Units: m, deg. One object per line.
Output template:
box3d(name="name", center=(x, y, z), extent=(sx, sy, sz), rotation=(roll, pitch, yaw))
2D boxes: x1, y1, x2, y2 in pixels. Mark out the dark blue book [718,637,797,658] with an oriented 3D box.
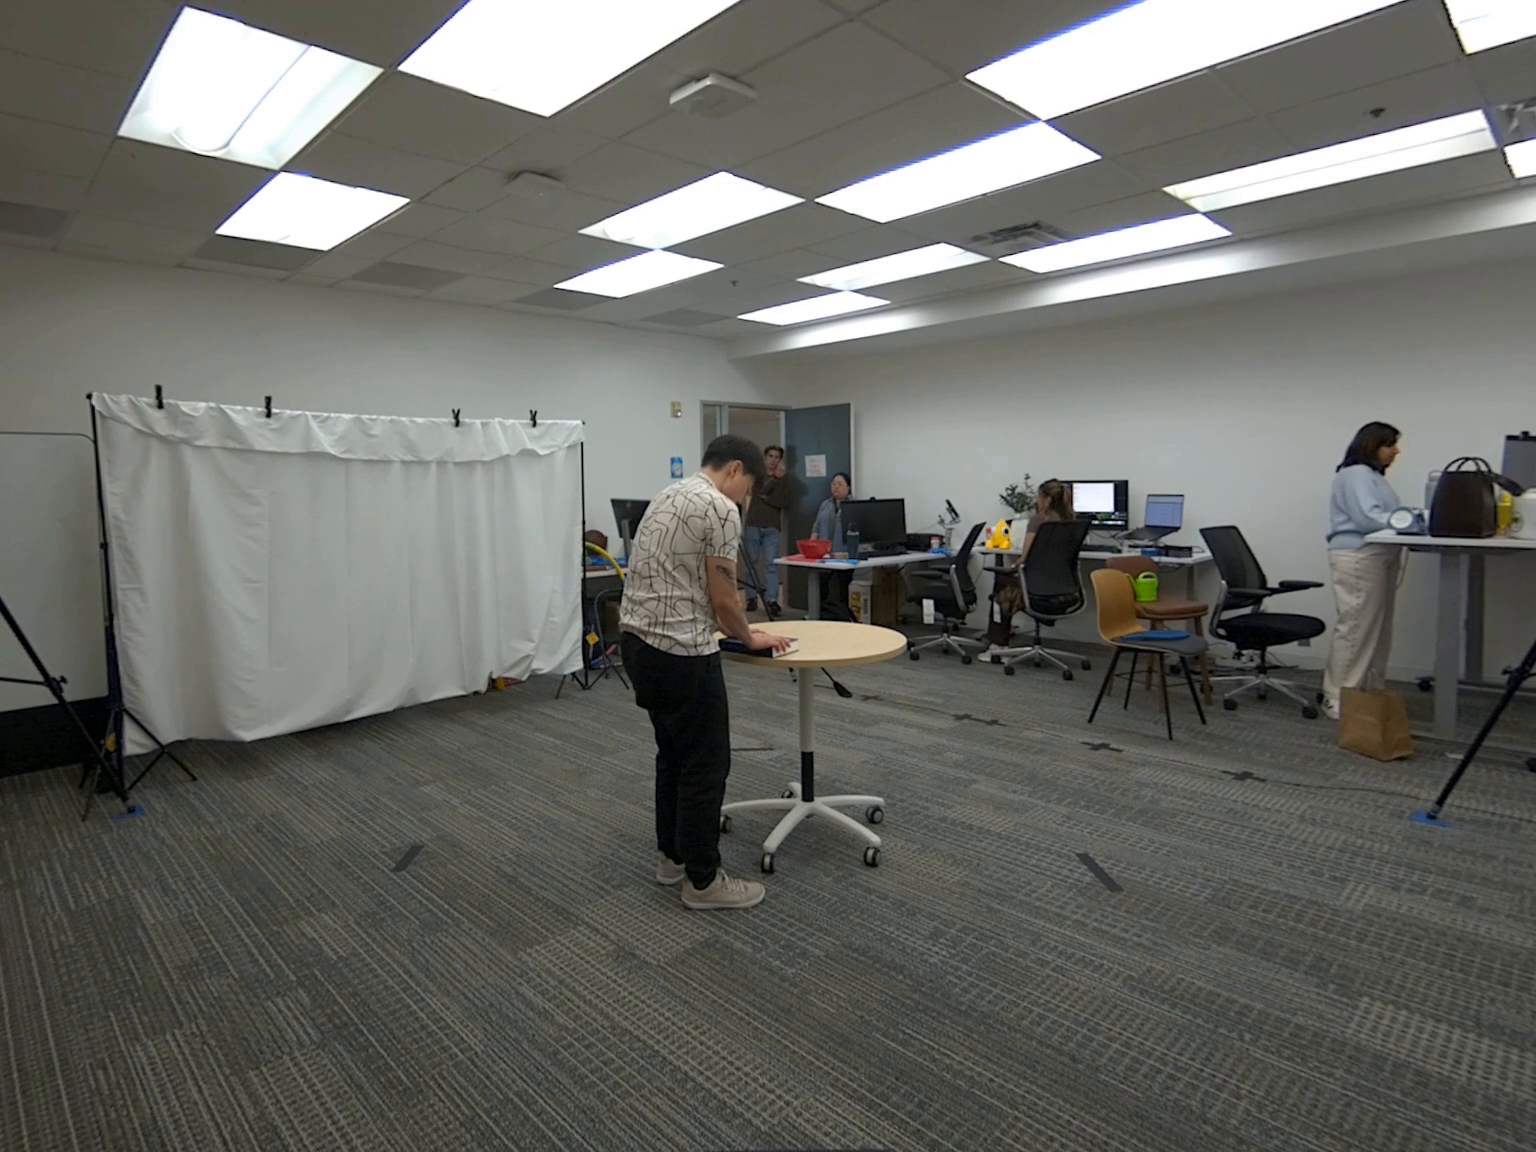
box3d(name="dark blue book", center=(-0.031, 0.252, 3.096), extent=(0.252, 0.045, 0.159), rotation=(3, 9, 36))
